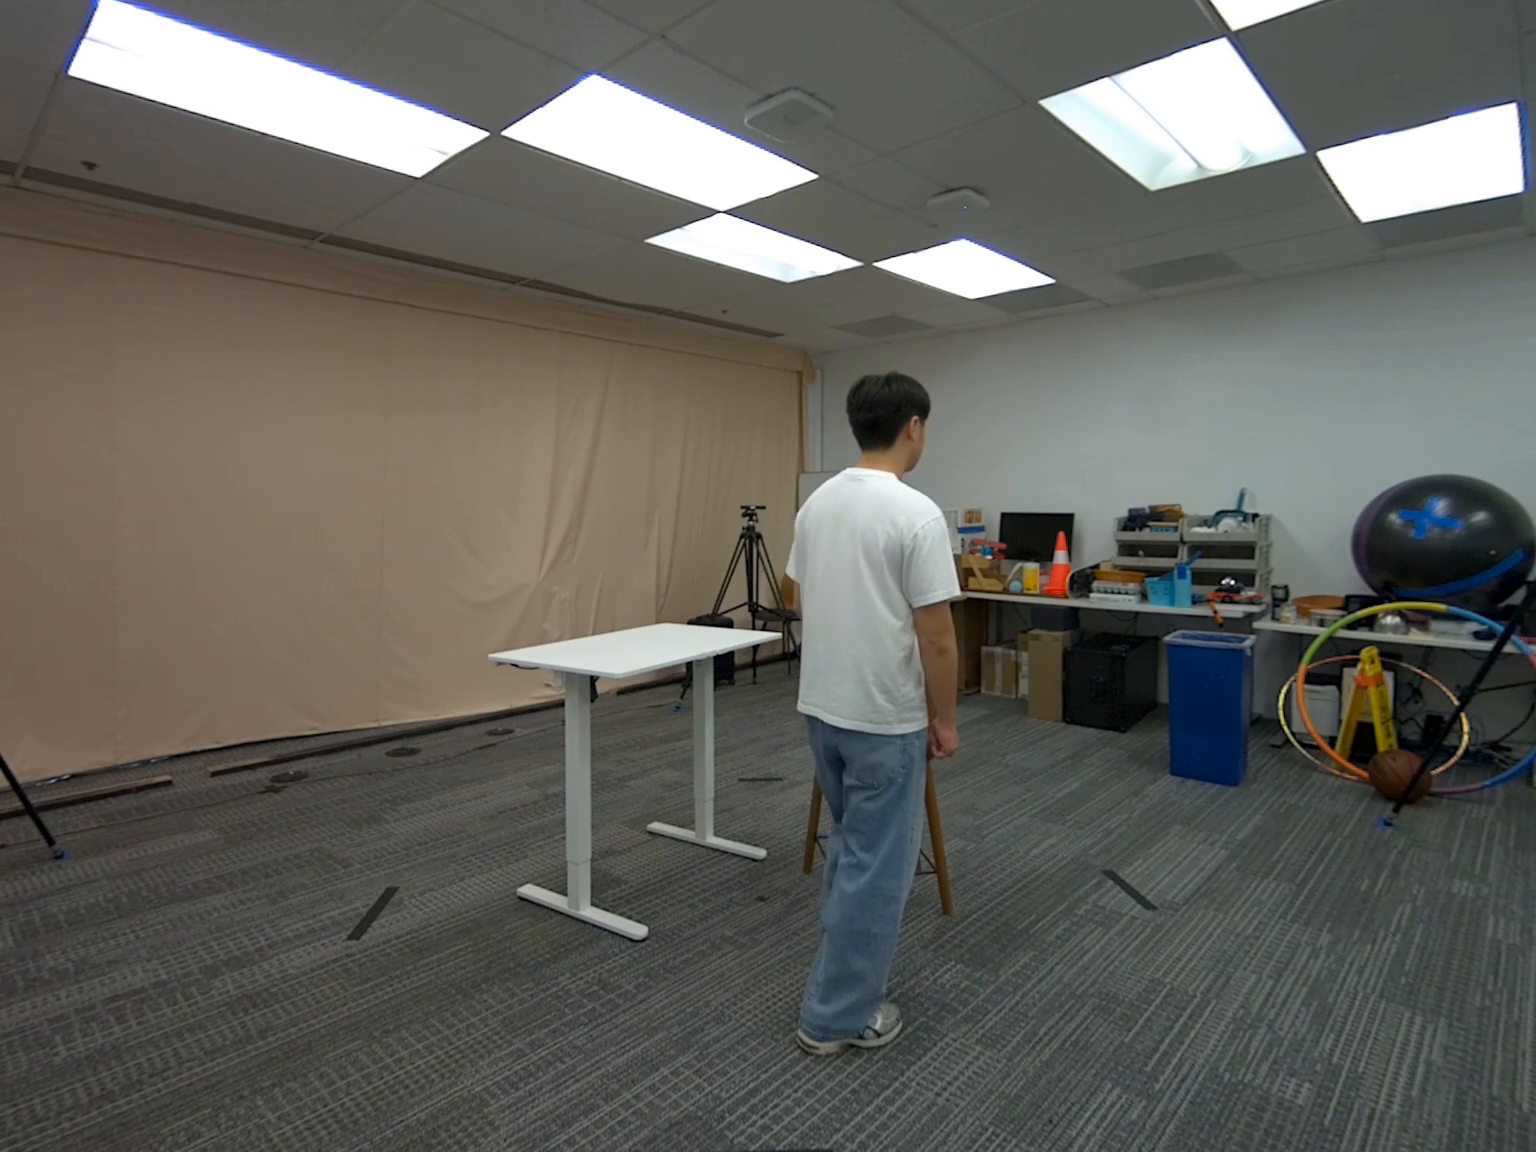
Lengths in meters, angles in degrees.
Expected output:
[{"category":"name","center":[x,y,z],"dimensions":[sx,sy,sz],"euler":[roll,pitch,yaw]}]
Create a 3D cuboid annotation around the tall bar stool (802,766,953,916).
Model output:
[{"category":"tall bar stool","center":[0.393,0.708,2.996],"dimensions":[0.464,0.888,0.461],"euler":[1,4,-7]}]
